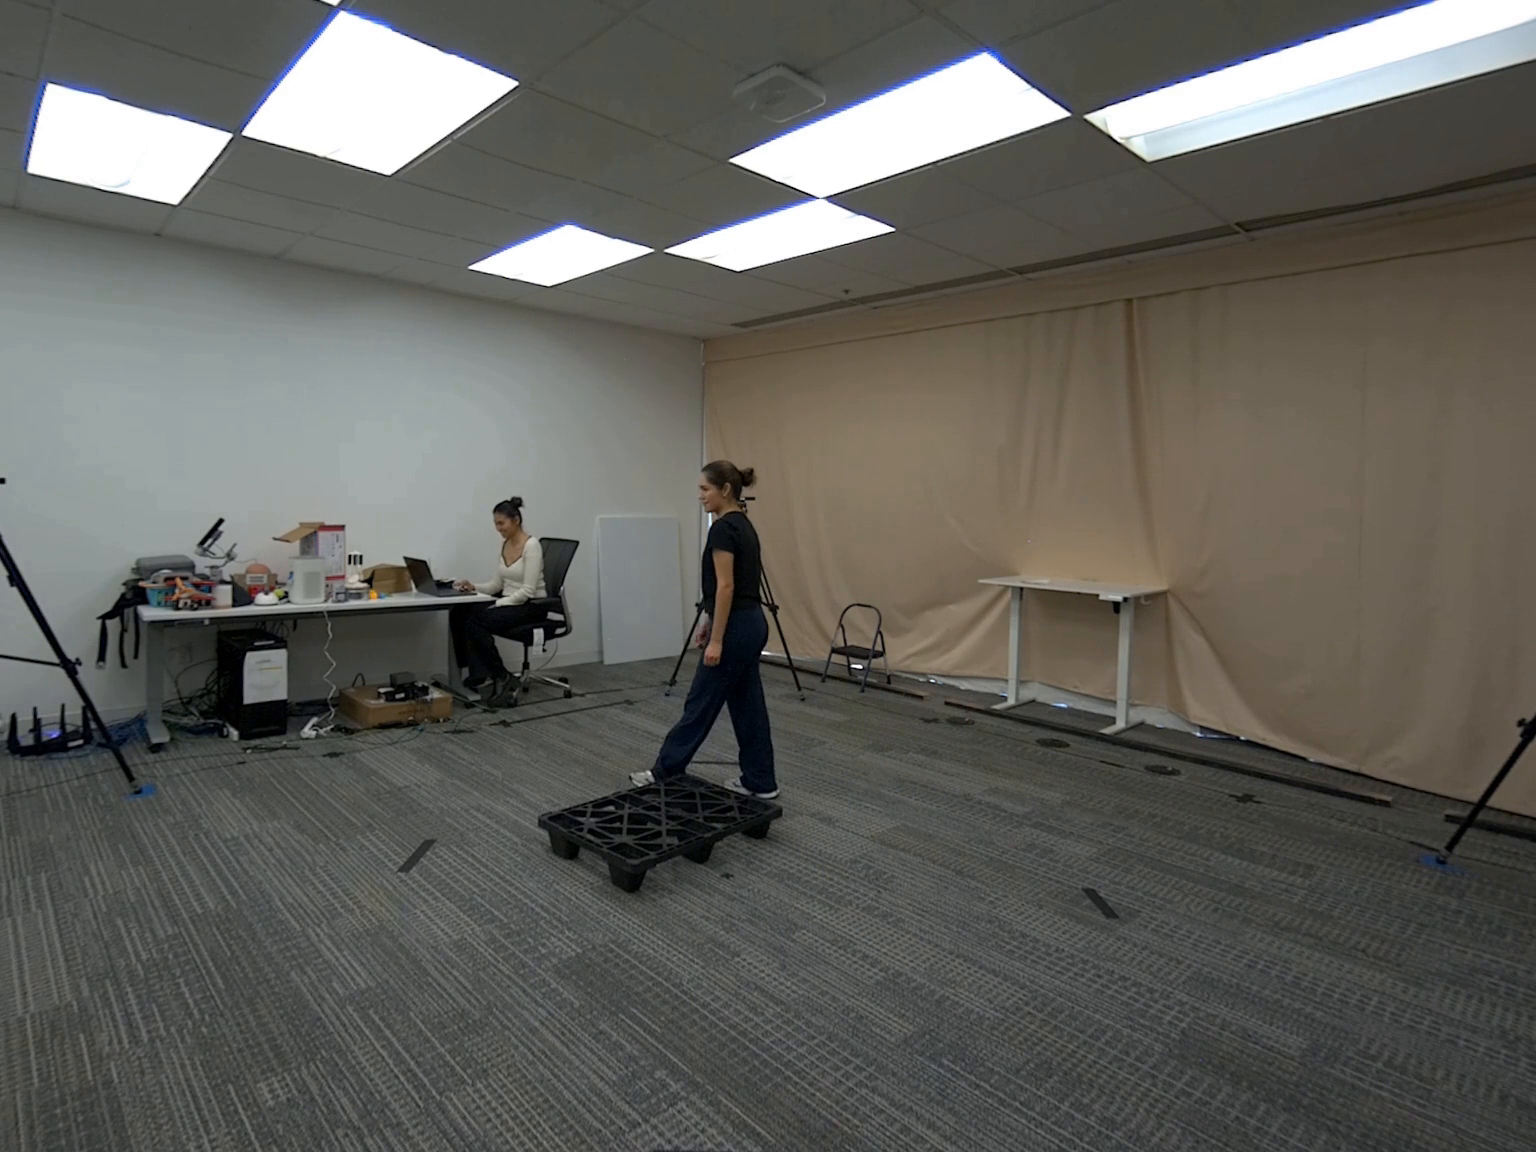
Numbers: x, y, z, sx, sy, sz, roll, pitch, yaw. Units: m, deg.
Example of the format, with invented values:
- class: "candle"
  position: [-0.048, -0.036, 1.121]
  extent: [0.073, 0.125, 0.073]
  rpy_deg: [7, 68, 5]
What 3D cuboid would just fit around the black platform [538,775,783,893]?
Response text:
- class: "black platform"
  position: [-0.430, 1.012, 3.353]
  extent: [0.620, 0.143, 0.787]
  rpy_deg: [5, 6, 42]
